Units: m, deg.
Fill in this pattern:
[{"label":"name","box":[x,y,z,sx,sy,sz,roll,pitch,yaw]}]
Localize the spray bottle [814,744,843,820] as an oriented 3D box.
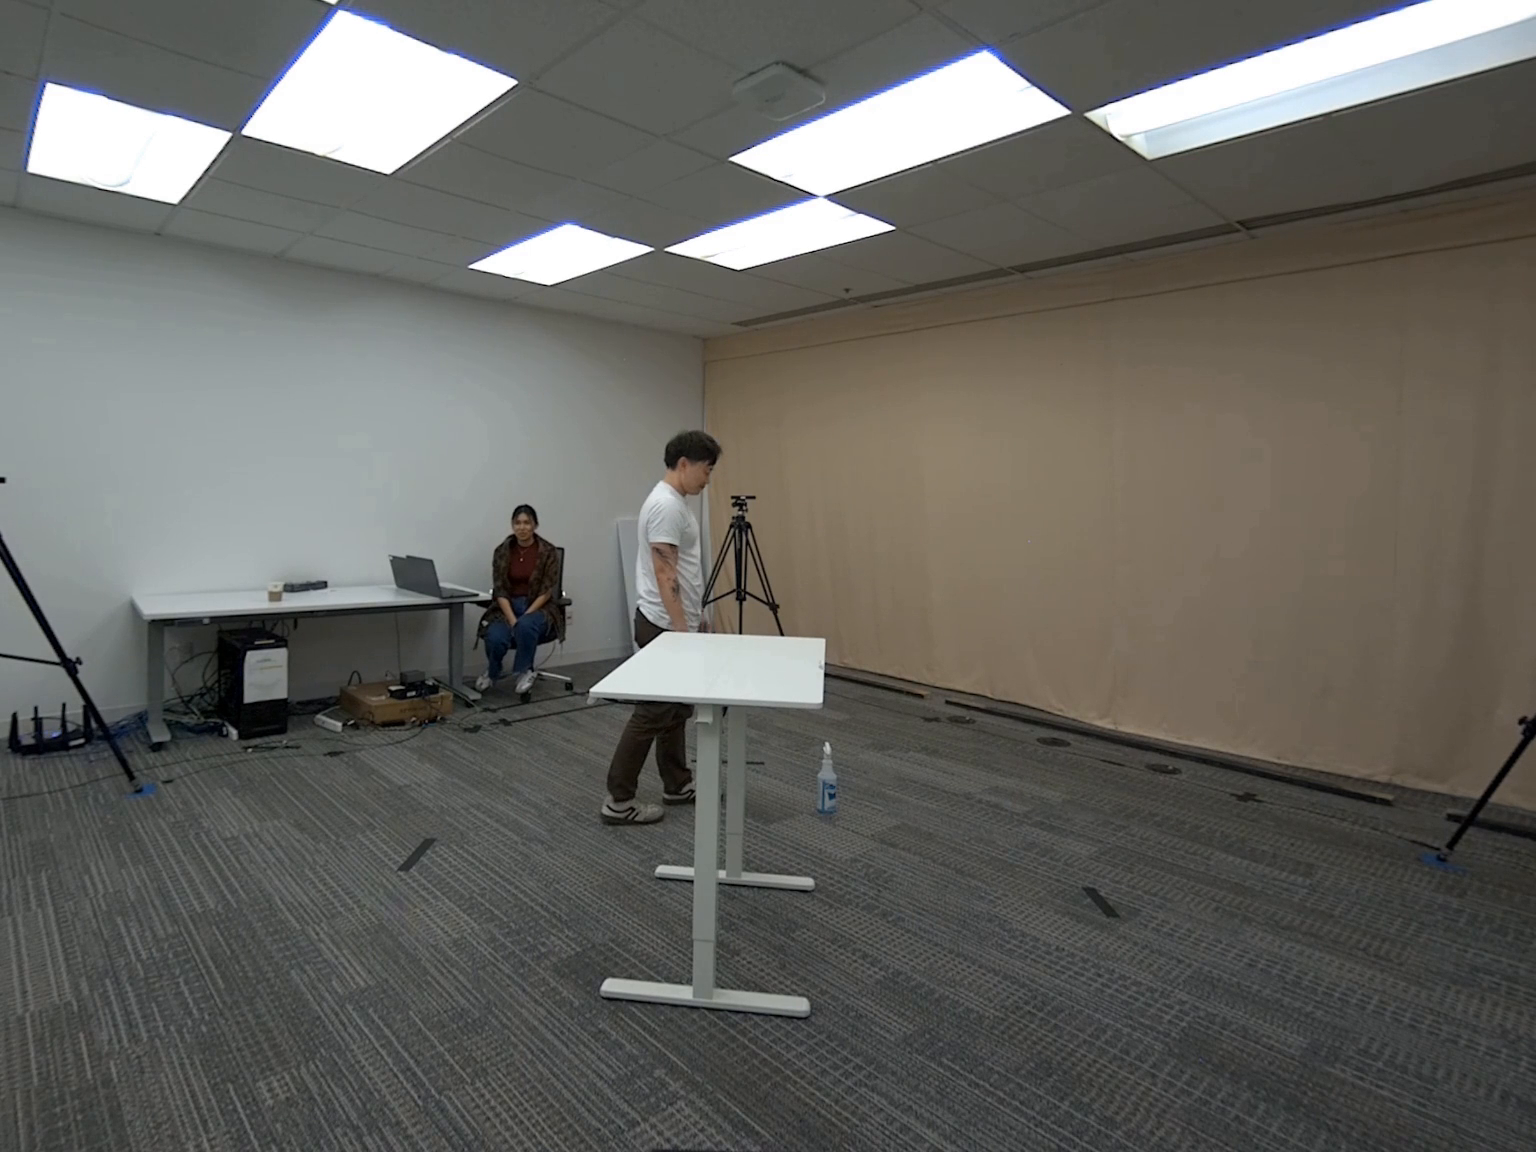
[{"label":"spray bottle","box":[0.268,0.917,3.785,0.088,0.297,0.088,4,3,22]}]
